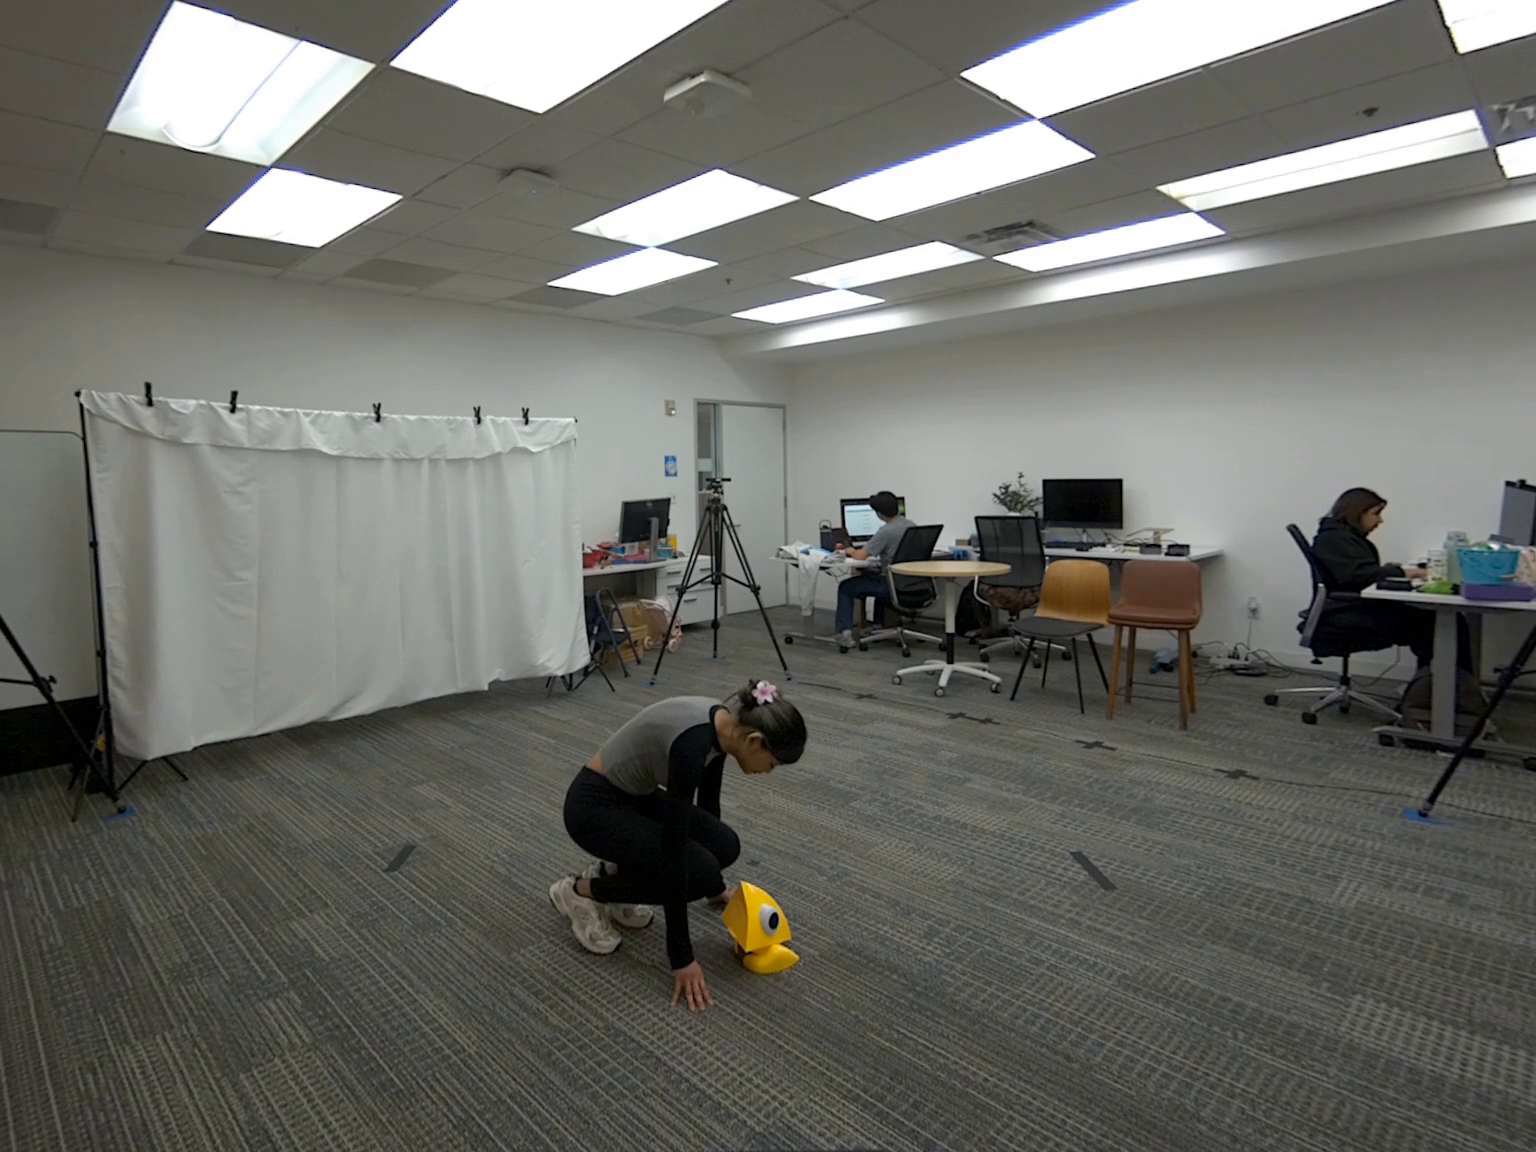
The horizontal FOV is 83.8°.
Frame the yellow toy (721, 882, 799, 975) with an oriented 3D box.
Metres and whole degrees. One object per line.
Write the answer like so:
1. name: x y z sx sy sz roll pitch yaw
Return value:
1. yellow toy: -0.014 1.001 2.506 0.189 0.230 0.209 -3 5 -21
